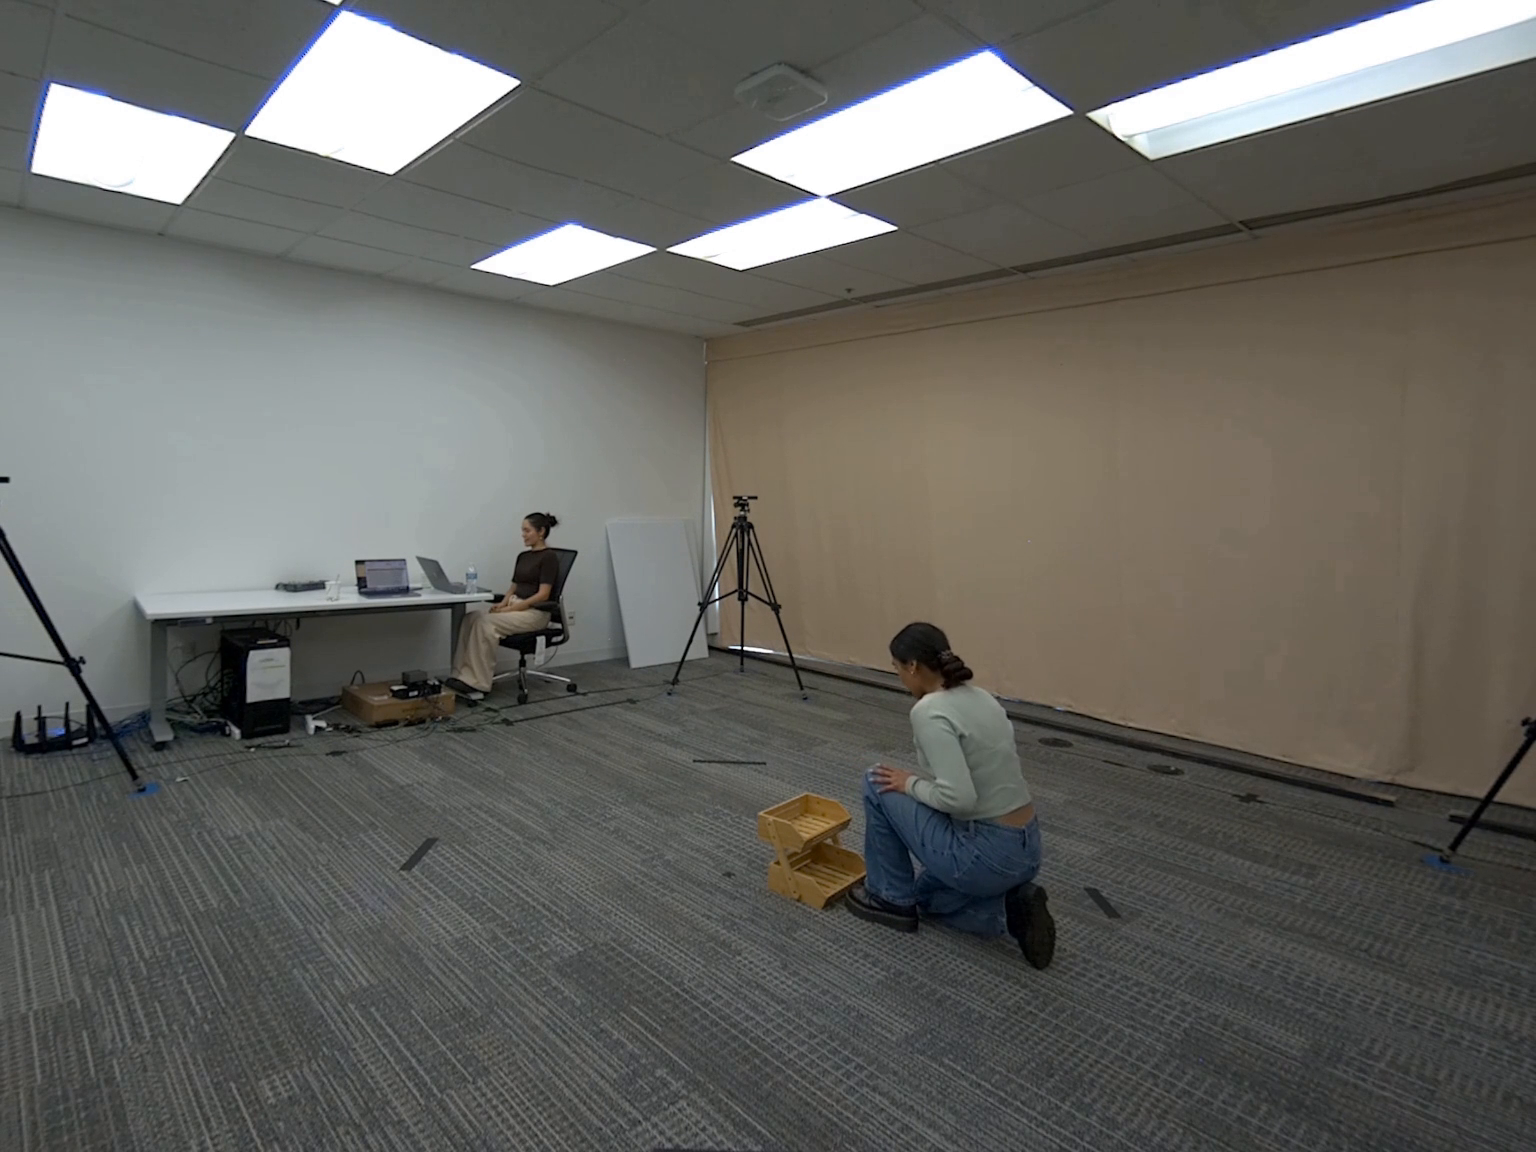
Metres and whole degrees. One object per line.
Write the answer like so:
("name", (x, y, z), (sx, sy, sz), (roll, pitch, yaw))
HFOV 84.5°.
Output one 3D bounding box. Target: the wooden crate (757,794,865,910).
("wooden crate", (0.168, 0.982, 3.043), (0.309, 0.272, 0.317), (4, 5, 38))
